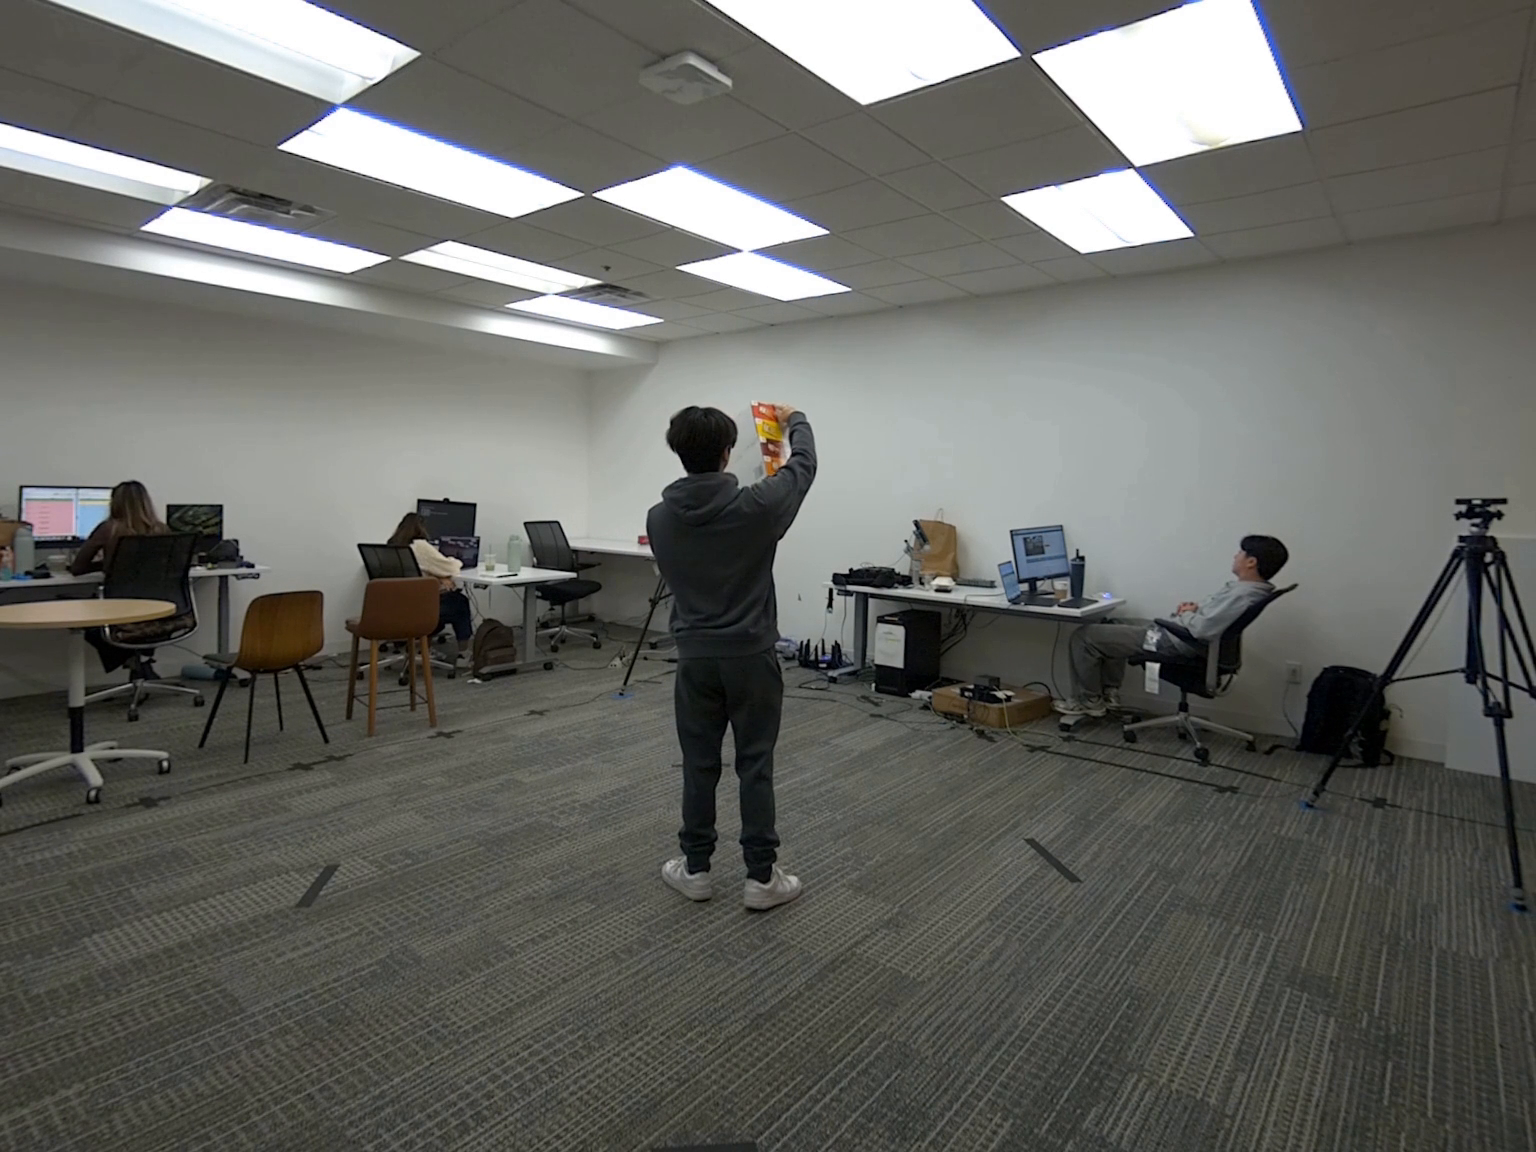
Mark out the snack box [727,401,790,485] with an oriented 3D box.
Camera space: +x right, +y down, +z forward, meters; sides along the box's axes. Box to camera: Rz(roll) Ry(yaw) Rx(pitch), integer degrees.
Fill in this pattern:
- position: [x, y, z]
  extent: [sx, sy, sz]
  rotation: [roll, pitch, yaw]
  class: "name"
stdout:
- position: [-0.071, -0.417, 3.313]
  extent: [0.199, 0.350, 0.407]
  rotation: [8, -31, -32]
  class: "snack box"
